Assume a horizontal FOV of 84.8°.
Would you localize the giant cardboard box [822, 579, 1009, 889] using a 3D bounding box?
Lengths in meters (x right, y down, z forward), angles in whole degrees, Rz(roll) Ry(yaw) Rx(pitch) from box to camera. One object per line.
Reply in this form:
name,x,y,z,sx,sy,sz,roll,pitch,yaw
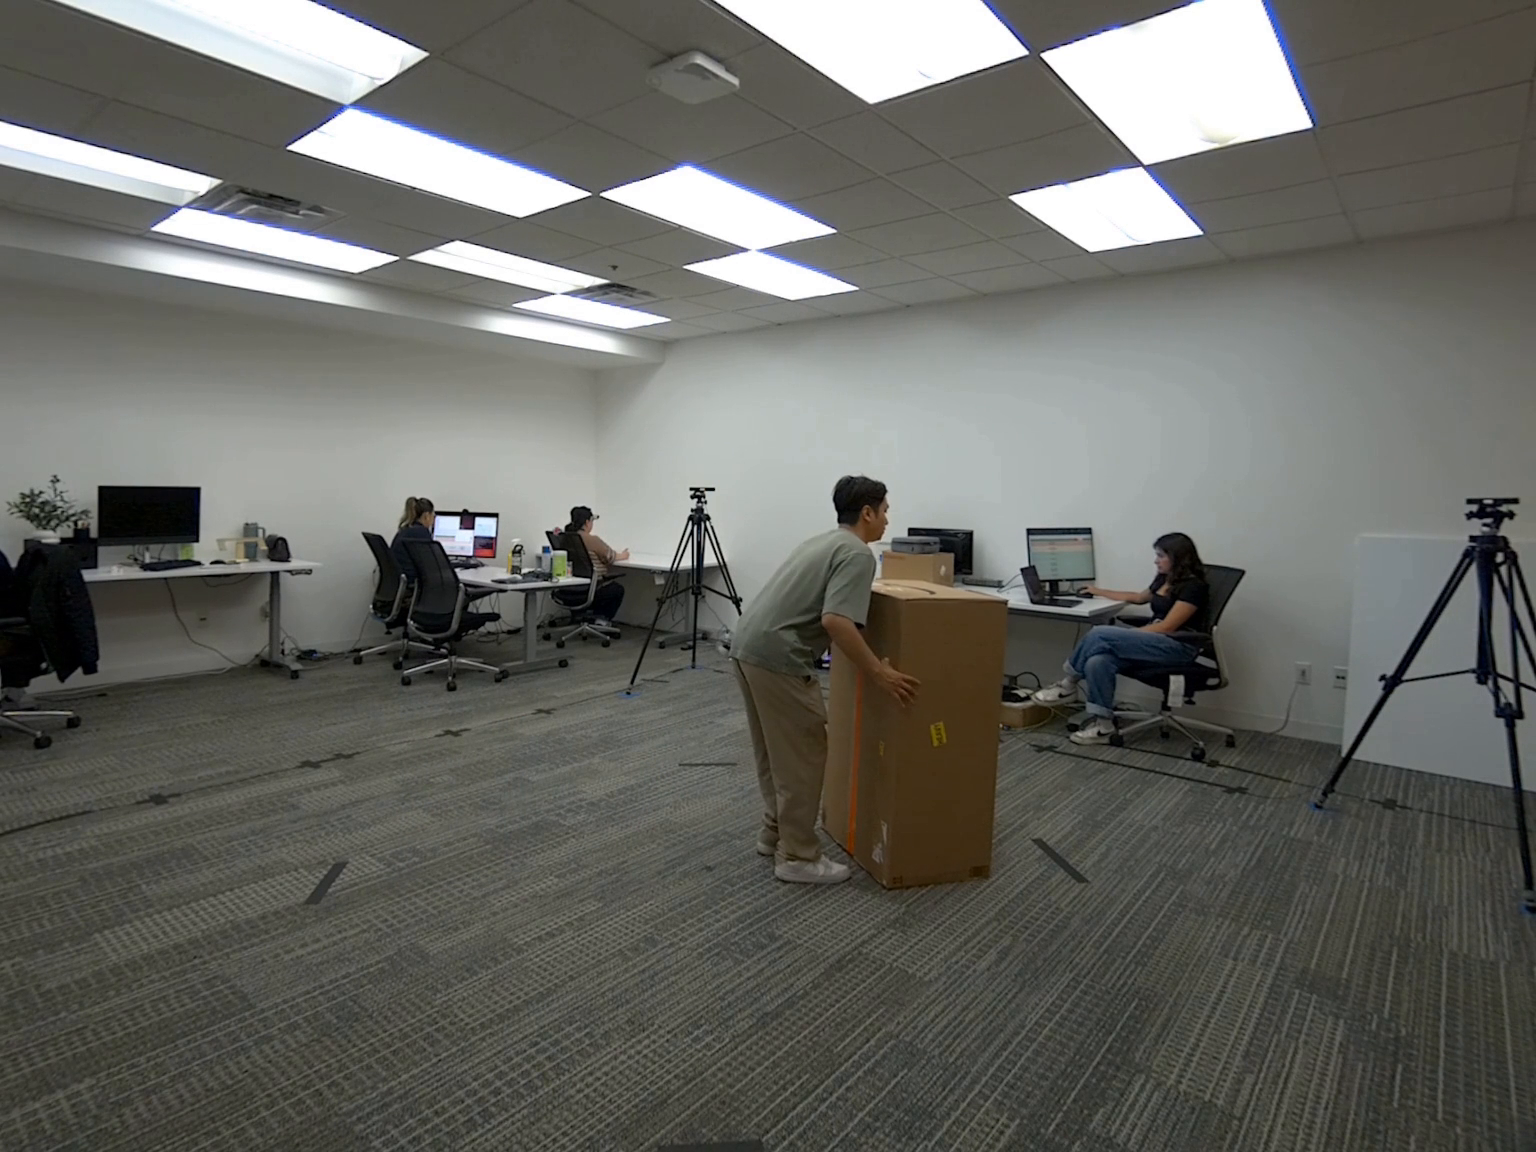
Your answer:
giant cardboard box,0.541,0.561,3.273,0.418,1.023,0.591,1,4,-20
